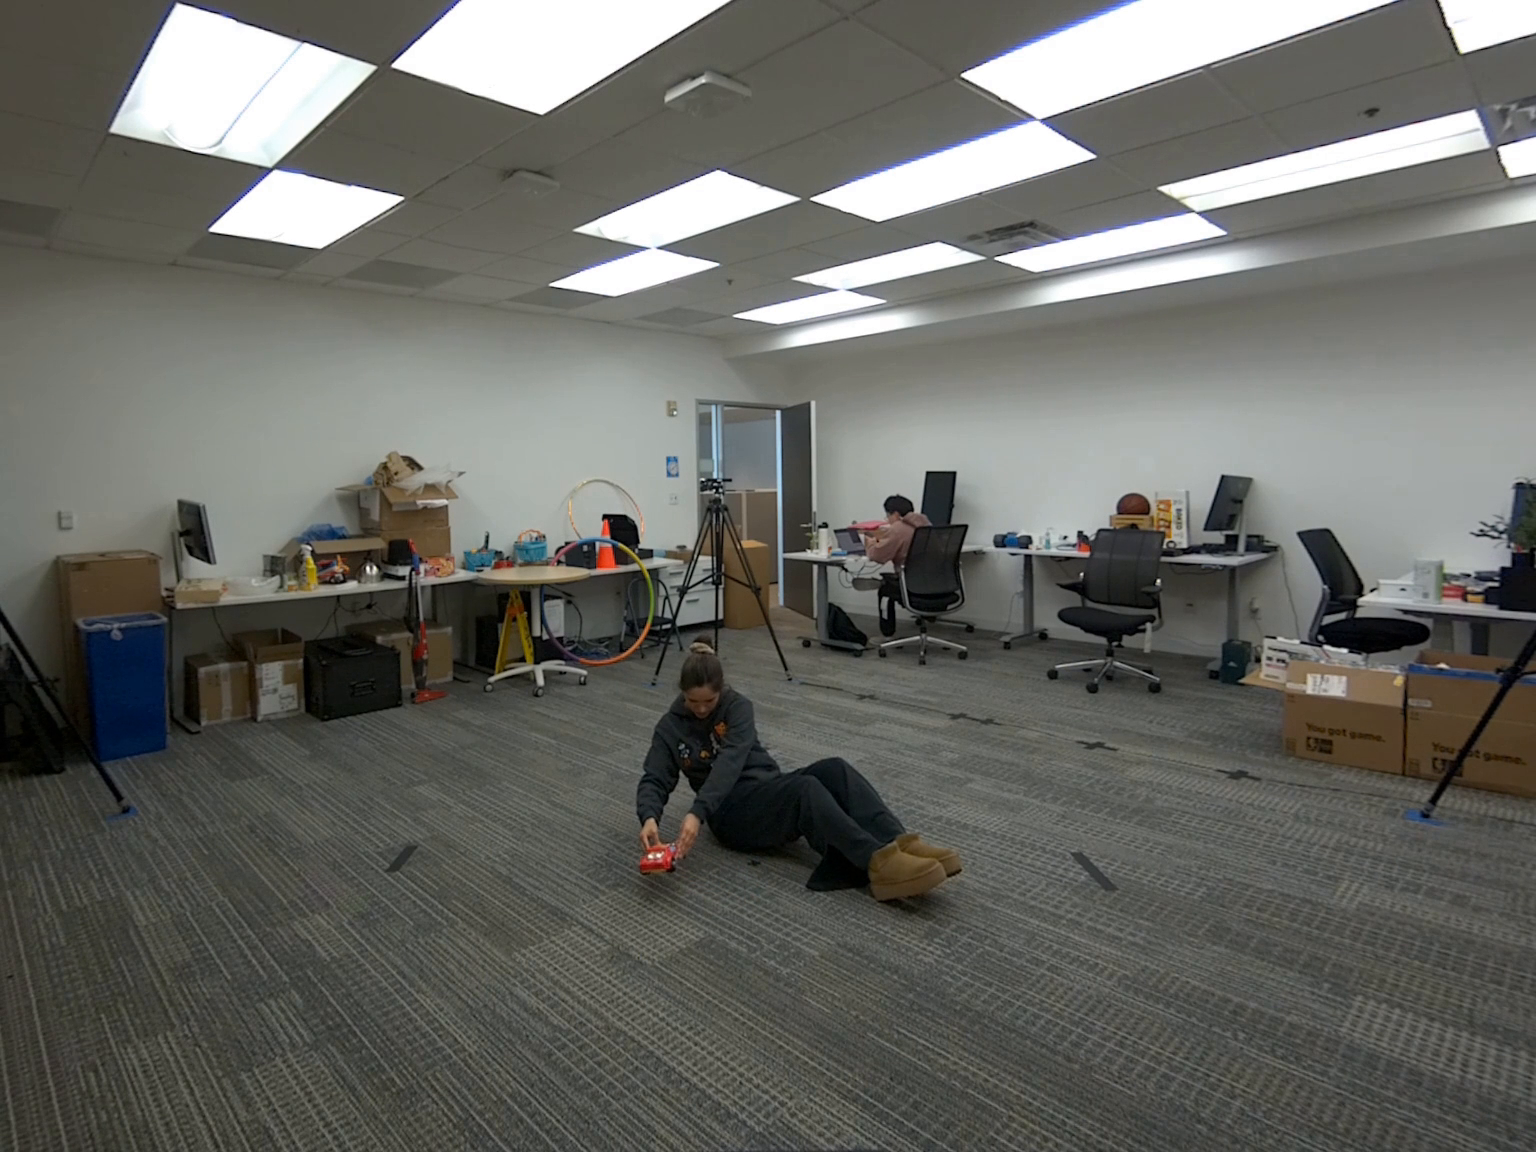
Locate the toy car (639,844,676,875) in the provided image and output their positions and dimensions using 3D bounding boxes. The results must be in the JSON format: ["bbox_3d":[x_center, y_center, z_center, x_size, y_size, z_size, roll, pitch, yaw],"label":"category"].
[{"bbox_3d":[-0.360,0.959,2.868,0.131,0.084,0.248,-10,-13,11],"label":"toy car"}]
